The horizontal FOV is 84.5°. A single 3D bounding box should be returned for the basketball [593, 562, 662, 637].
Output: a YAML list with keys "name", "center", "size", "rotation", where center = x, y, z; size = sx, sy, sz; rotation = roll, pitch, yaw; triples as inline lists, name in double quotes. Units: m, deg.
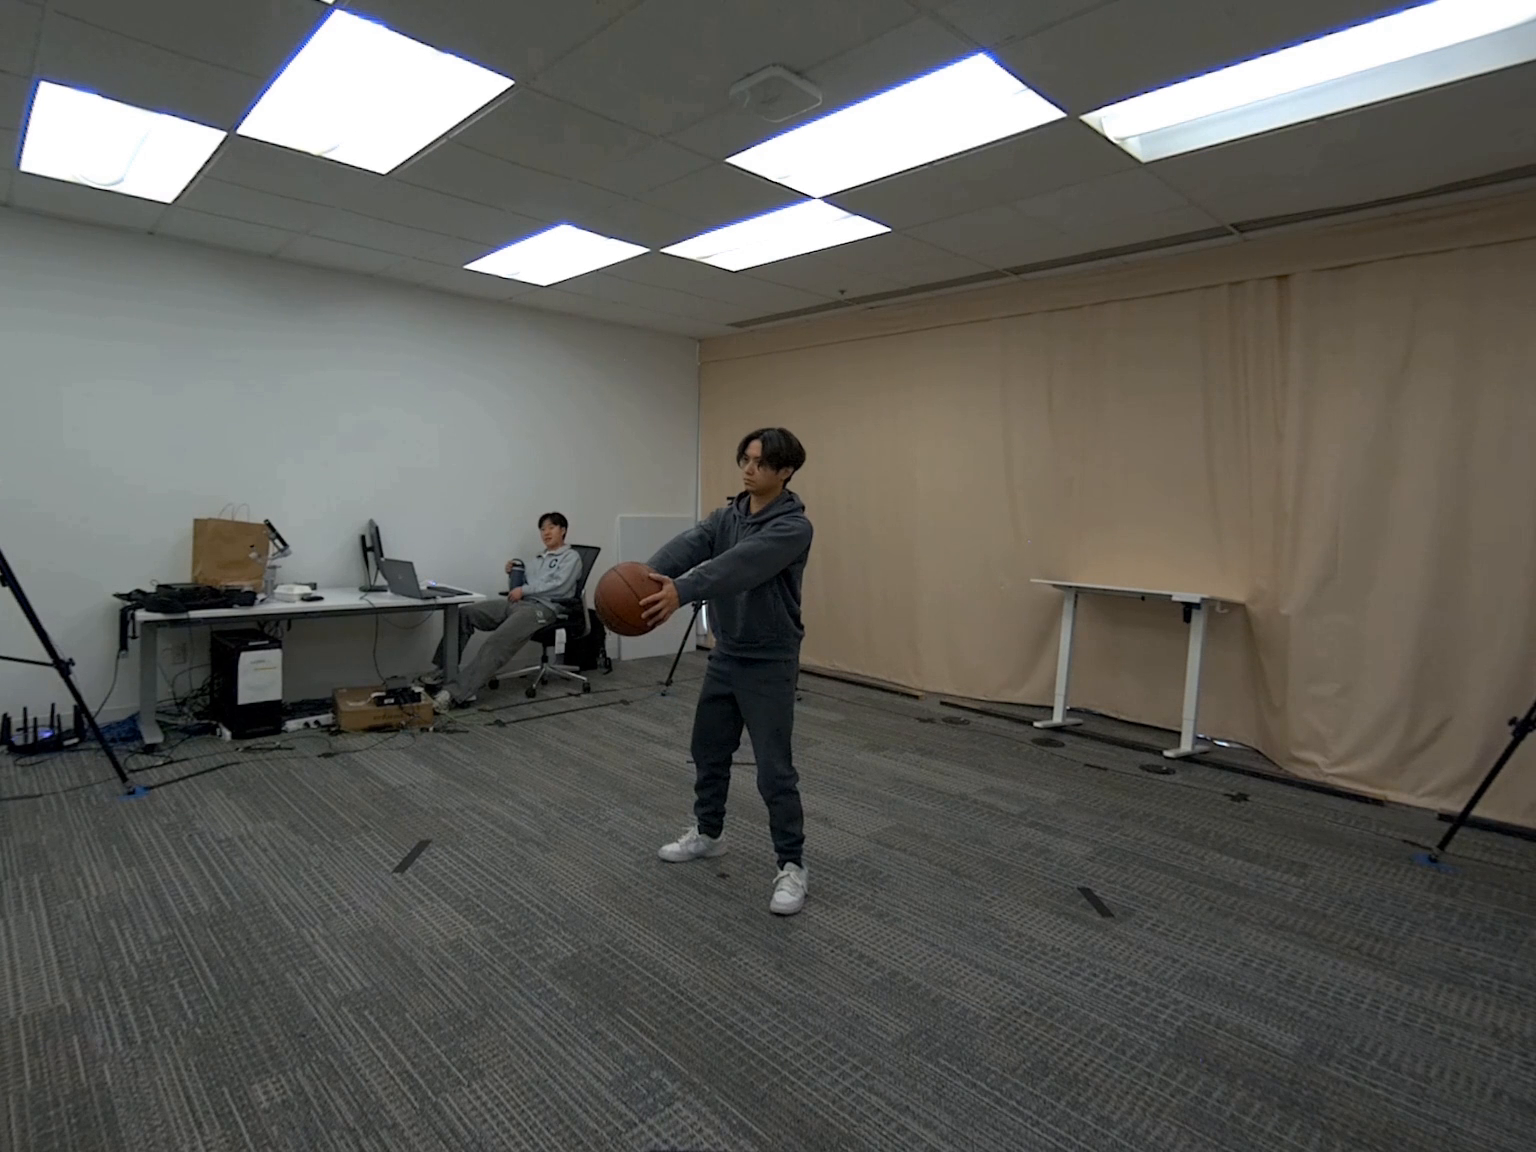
- name: "basketball"
  center: [-0.438, 0.080, 2.684]
  size: [0.236, 0.235, 0.237]
  rotation: [1, 4, -1]
